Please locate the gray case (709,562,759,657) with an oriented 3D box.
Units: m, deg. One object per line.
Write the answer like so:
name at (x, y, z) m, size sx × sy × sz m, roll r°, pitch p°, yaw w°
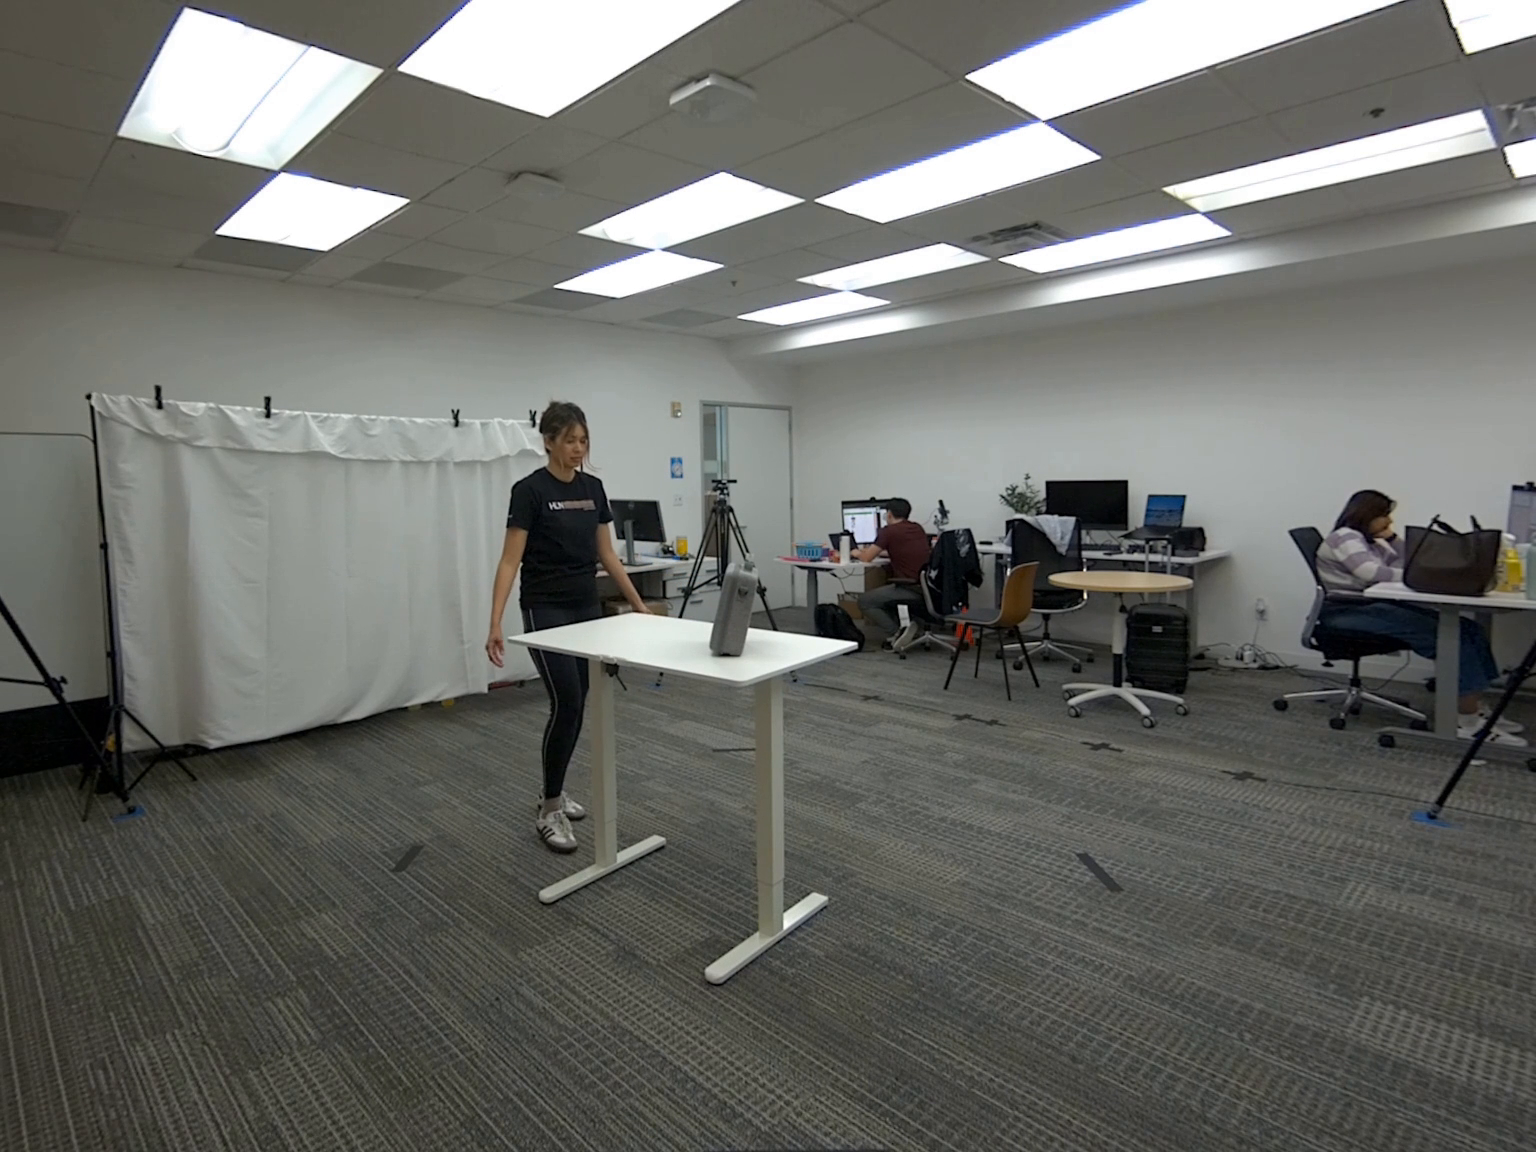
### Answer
gray case at (-0.088, 0.091, 2.615) m, size 0.104 × 0.259 × 0.259 m, roll 8°, pitch 7°, yaw -4°
